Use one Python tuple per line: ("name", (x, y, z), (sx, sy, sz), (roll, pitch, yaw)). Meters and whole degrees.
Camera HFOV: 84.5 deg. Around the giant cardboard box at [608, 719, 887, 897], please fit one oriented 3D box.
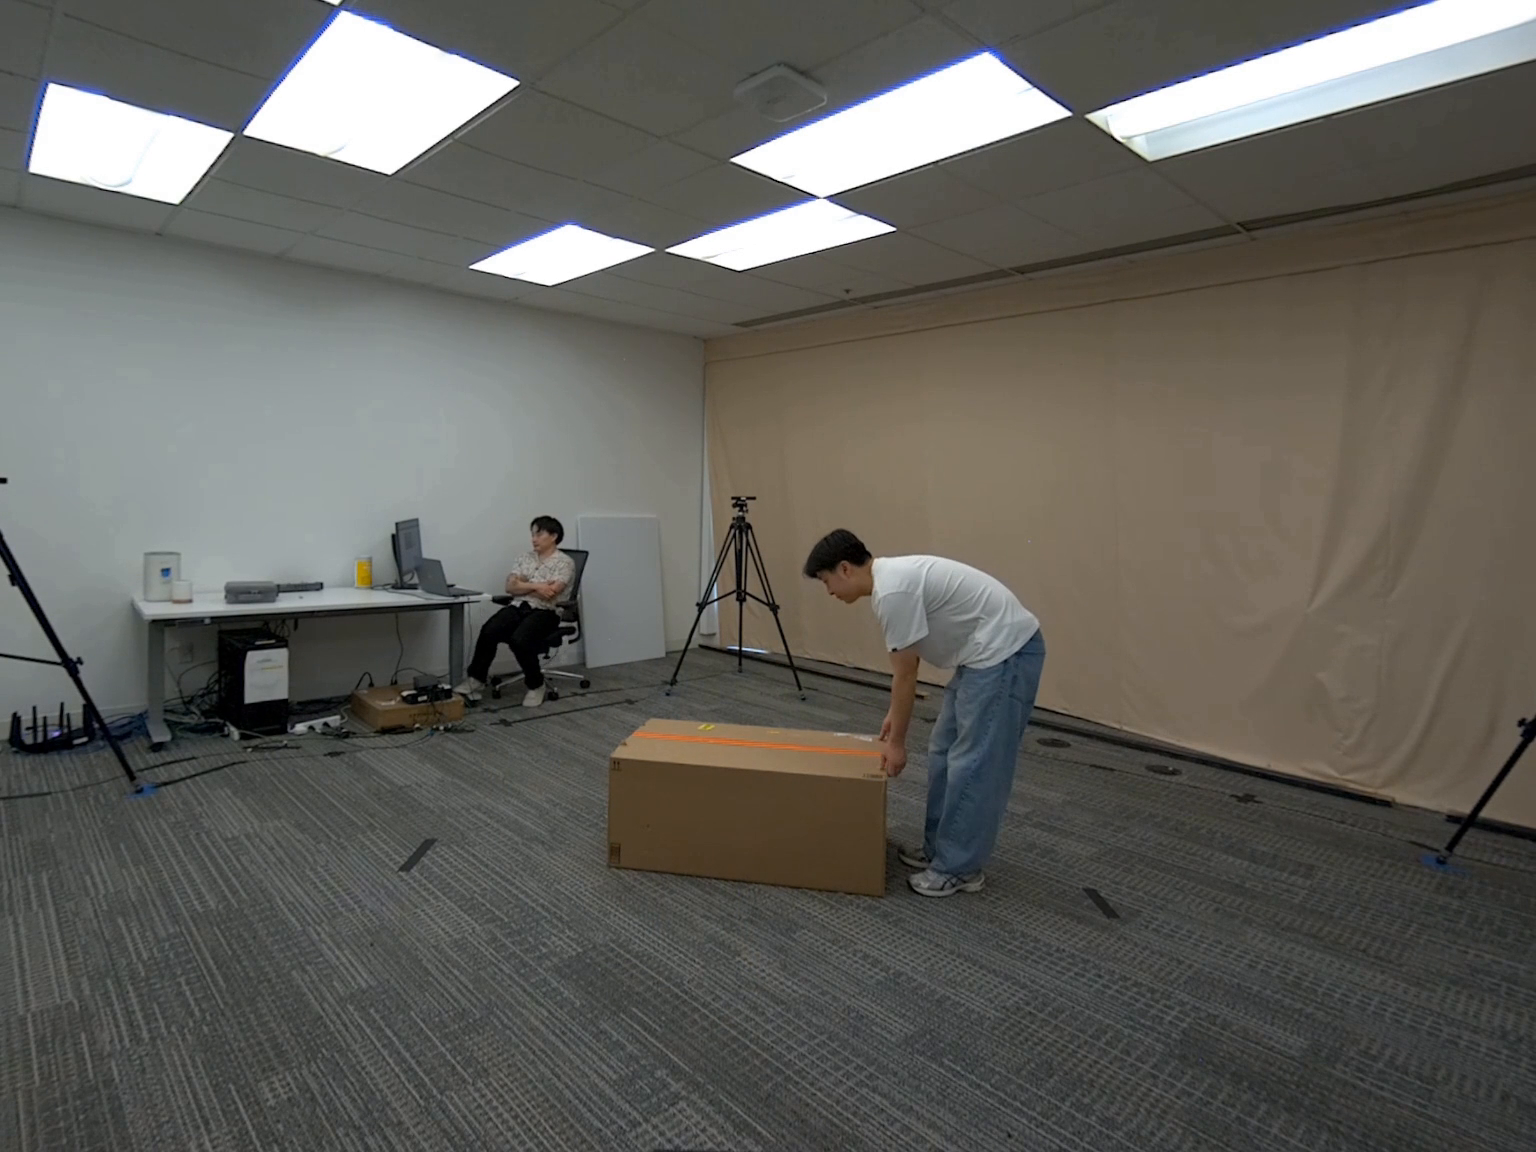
("giant cardboard box", (-0.059, 0.869, 3.323), (1.035, 0.425, 0.574), (2, 4, 10))
